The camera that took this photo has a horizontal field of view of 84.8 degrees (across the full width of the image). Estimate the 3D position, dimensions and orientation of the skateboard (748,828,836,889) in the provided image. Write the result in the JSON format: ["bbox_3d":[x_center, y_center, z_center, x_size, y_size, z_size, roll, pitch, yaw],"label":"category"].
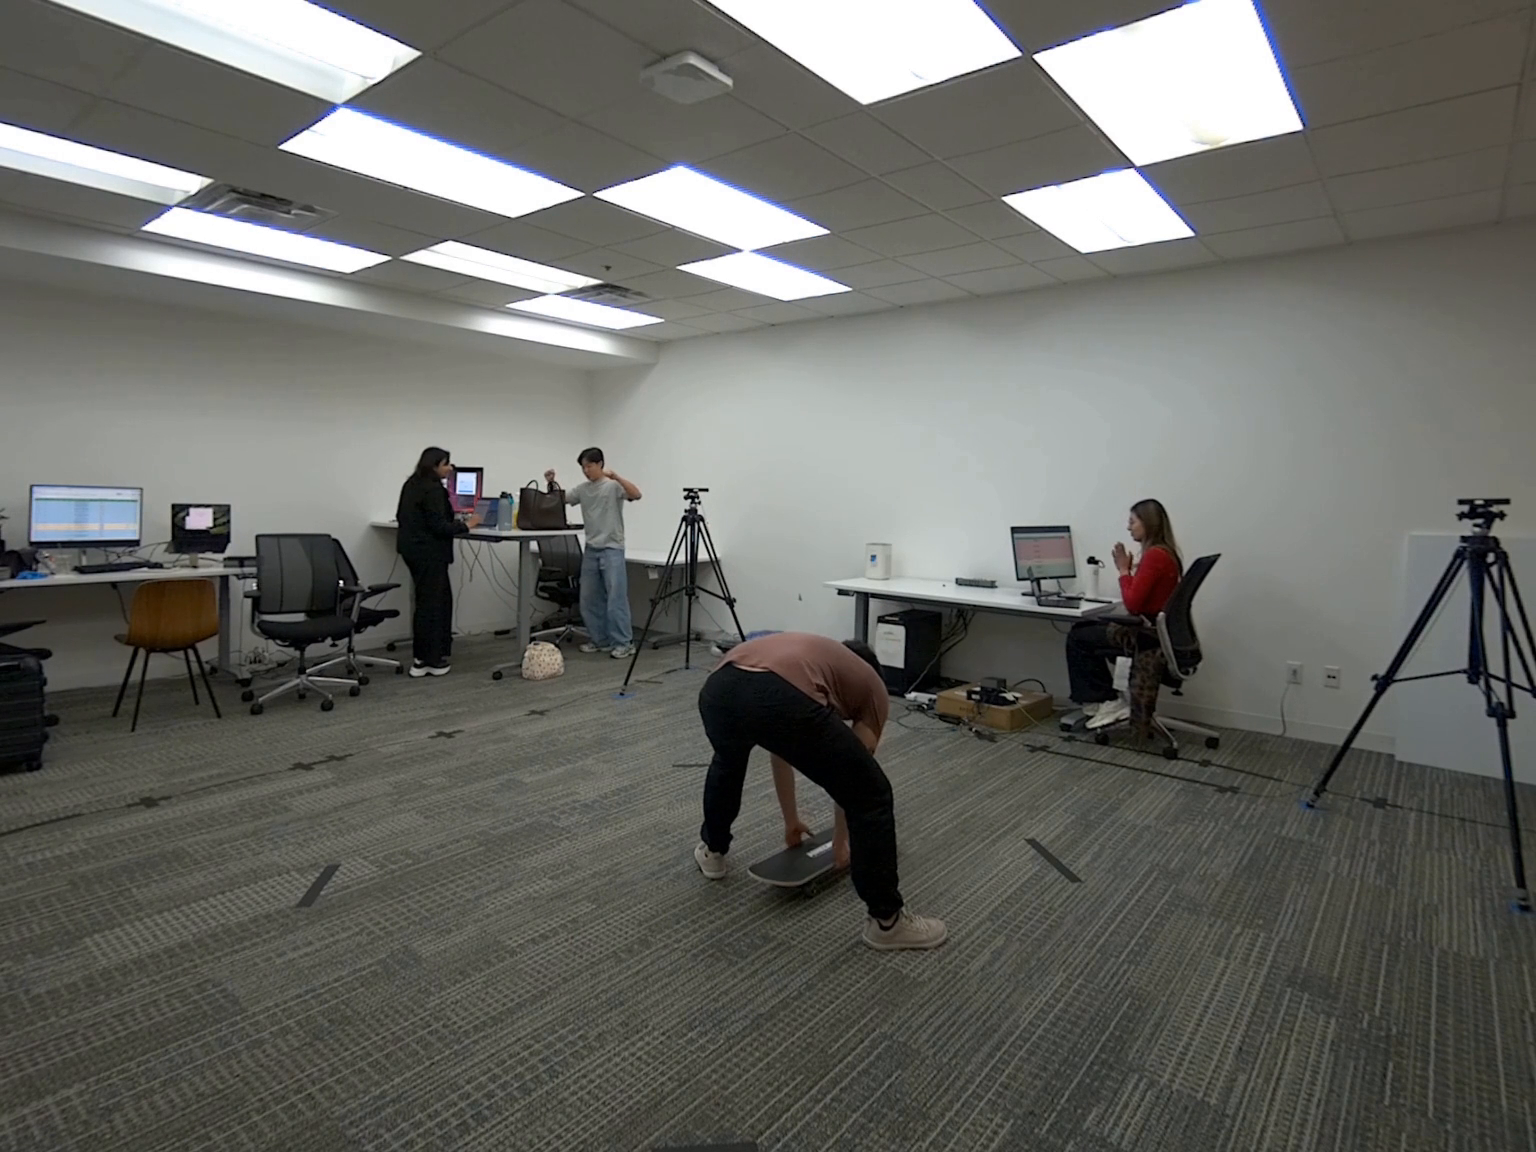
[{"bbox_3d":[0.207,1.024,3.115,0.200,0.110,0.762,5,7,40],"label":"skateboard"}]
